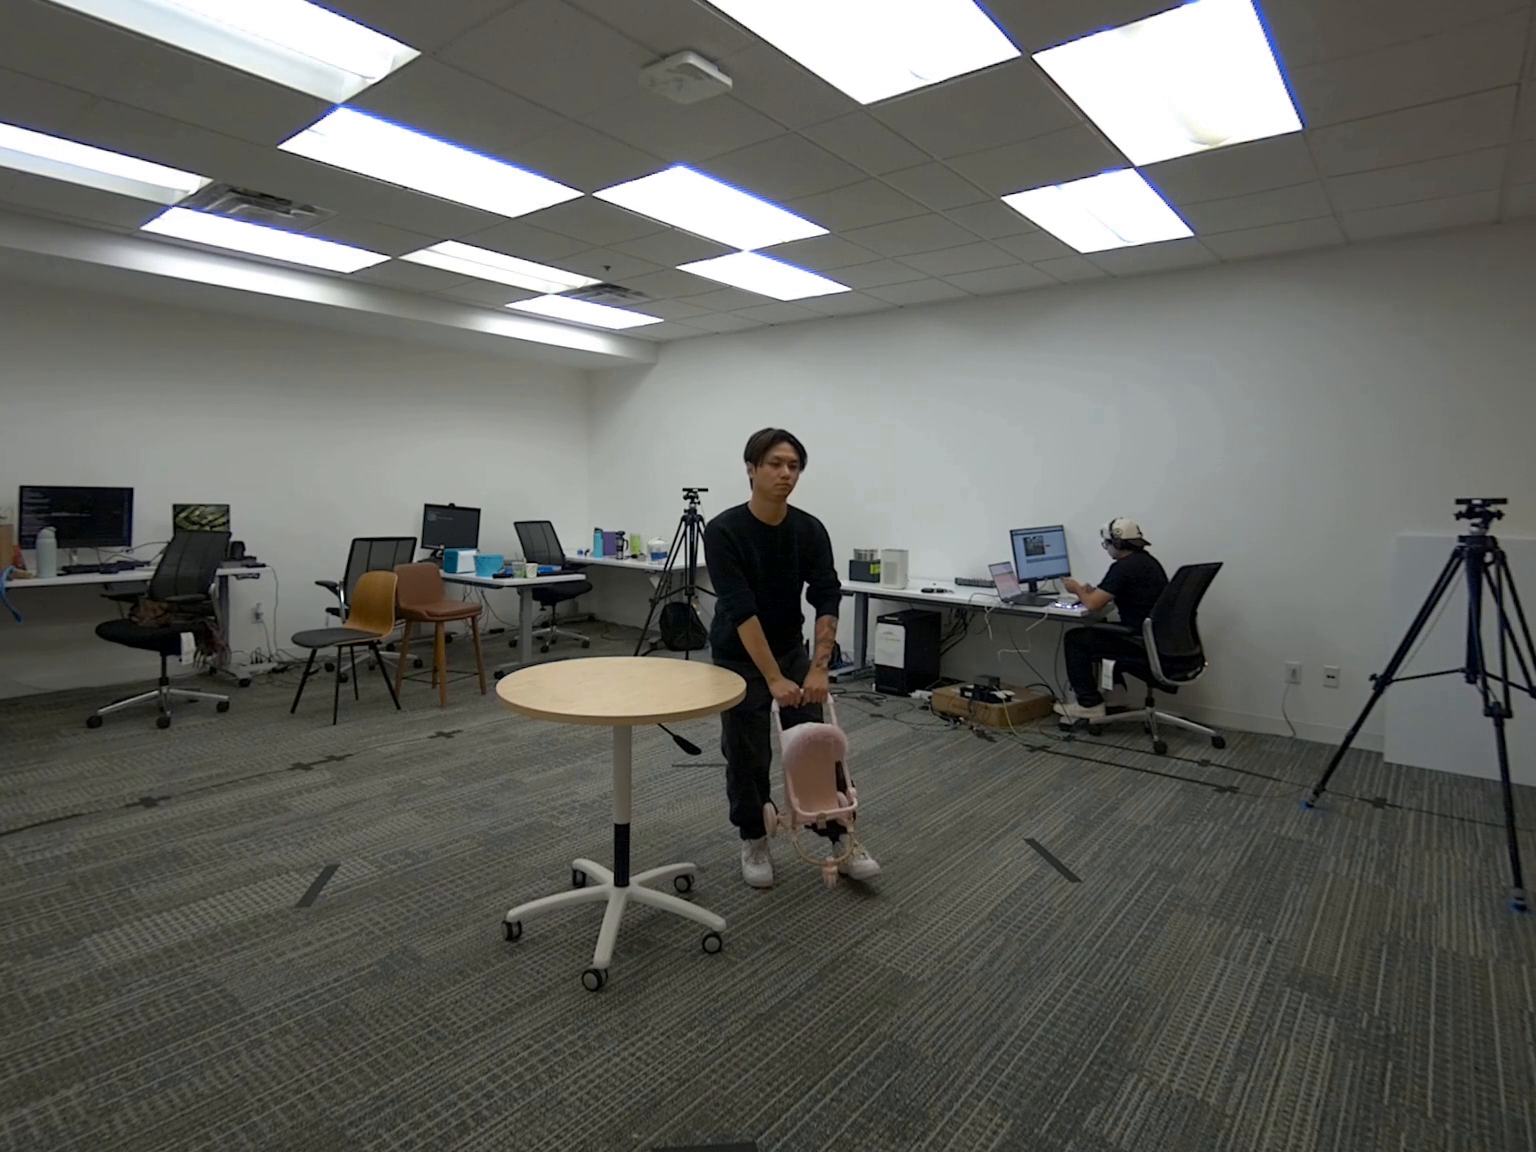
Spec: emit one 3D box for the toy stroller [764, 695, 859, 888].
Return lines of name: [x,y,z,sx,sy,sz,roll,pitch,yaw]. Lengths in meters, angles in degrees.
toy stroller: [0.143,0.675,2.704,0.278,0.529,0.349,-3,12,-11]
